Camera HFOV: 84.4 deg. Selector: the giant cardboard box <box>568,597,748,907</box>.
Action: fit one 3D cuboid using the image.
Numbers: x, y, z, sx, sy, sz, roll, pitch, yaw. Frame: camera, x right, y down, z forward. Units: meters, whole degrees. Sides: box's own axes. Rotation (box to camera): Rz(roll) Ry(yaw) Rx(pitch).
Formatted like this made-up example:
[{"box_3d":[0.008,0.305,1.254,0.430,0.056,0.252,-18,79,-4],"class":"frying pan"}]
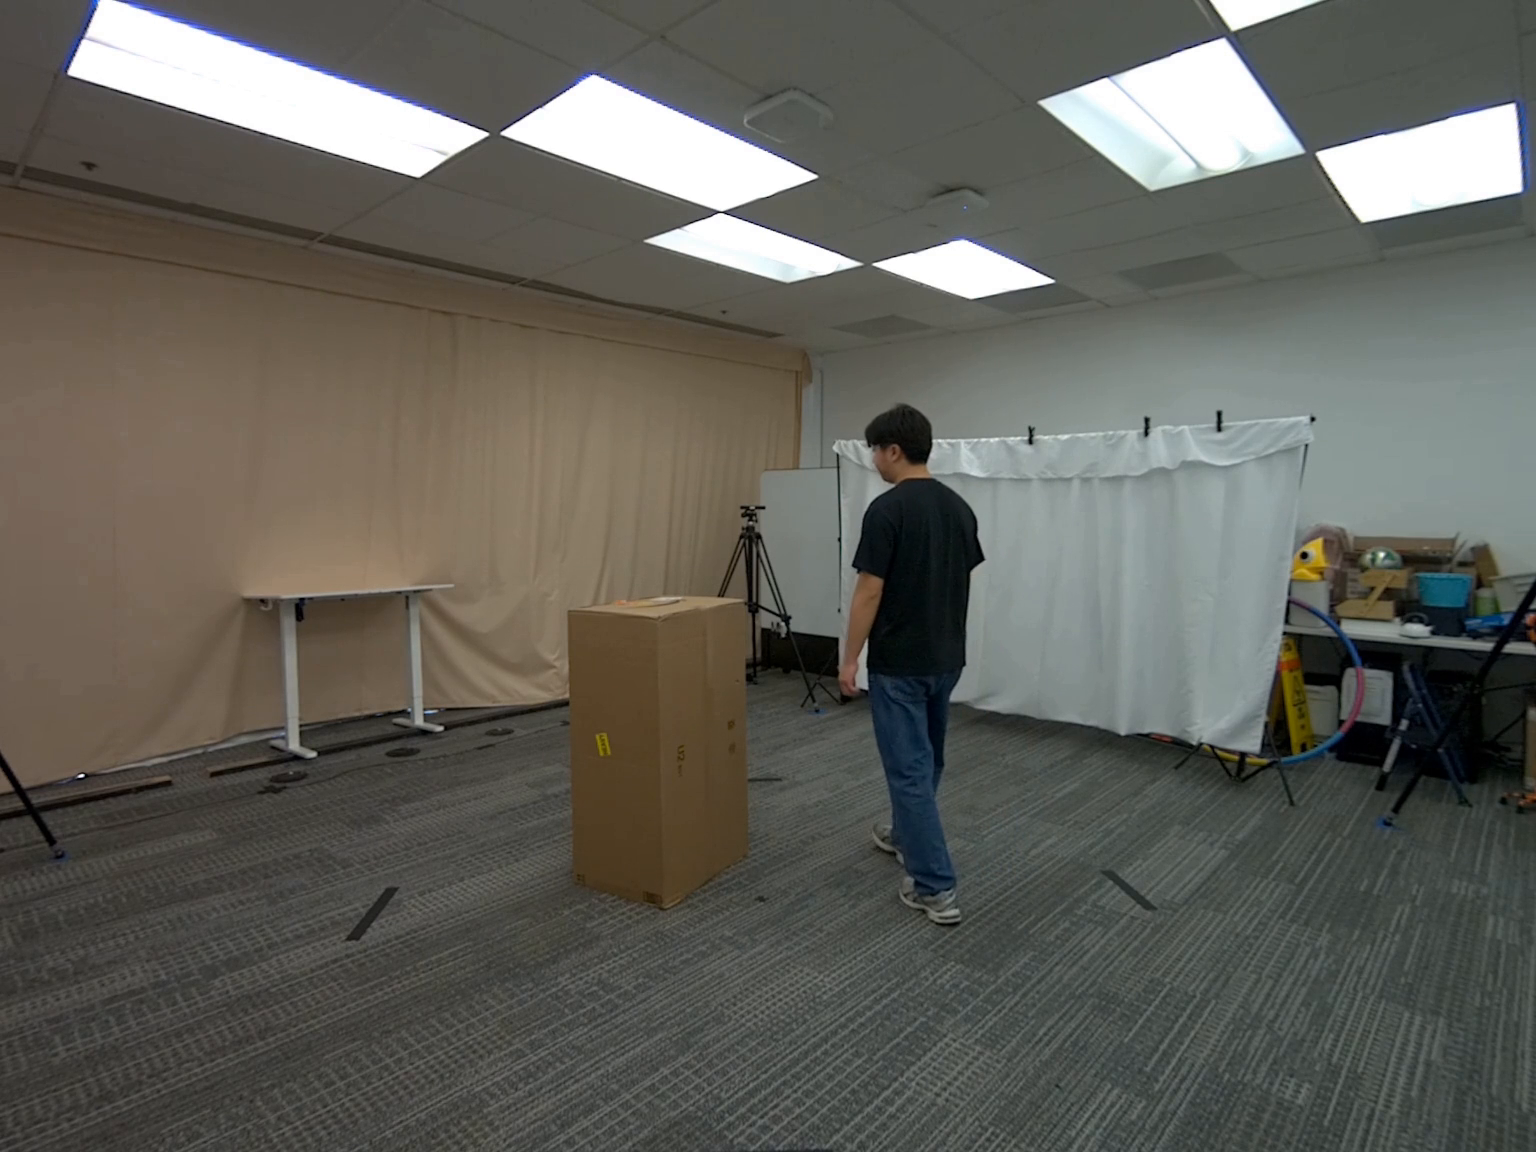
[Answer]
[{"box_3d":[-0.405,0.616,3.231,0.460,1.025,0.567,1,3,33],"class":"giant cardboard box"}]
